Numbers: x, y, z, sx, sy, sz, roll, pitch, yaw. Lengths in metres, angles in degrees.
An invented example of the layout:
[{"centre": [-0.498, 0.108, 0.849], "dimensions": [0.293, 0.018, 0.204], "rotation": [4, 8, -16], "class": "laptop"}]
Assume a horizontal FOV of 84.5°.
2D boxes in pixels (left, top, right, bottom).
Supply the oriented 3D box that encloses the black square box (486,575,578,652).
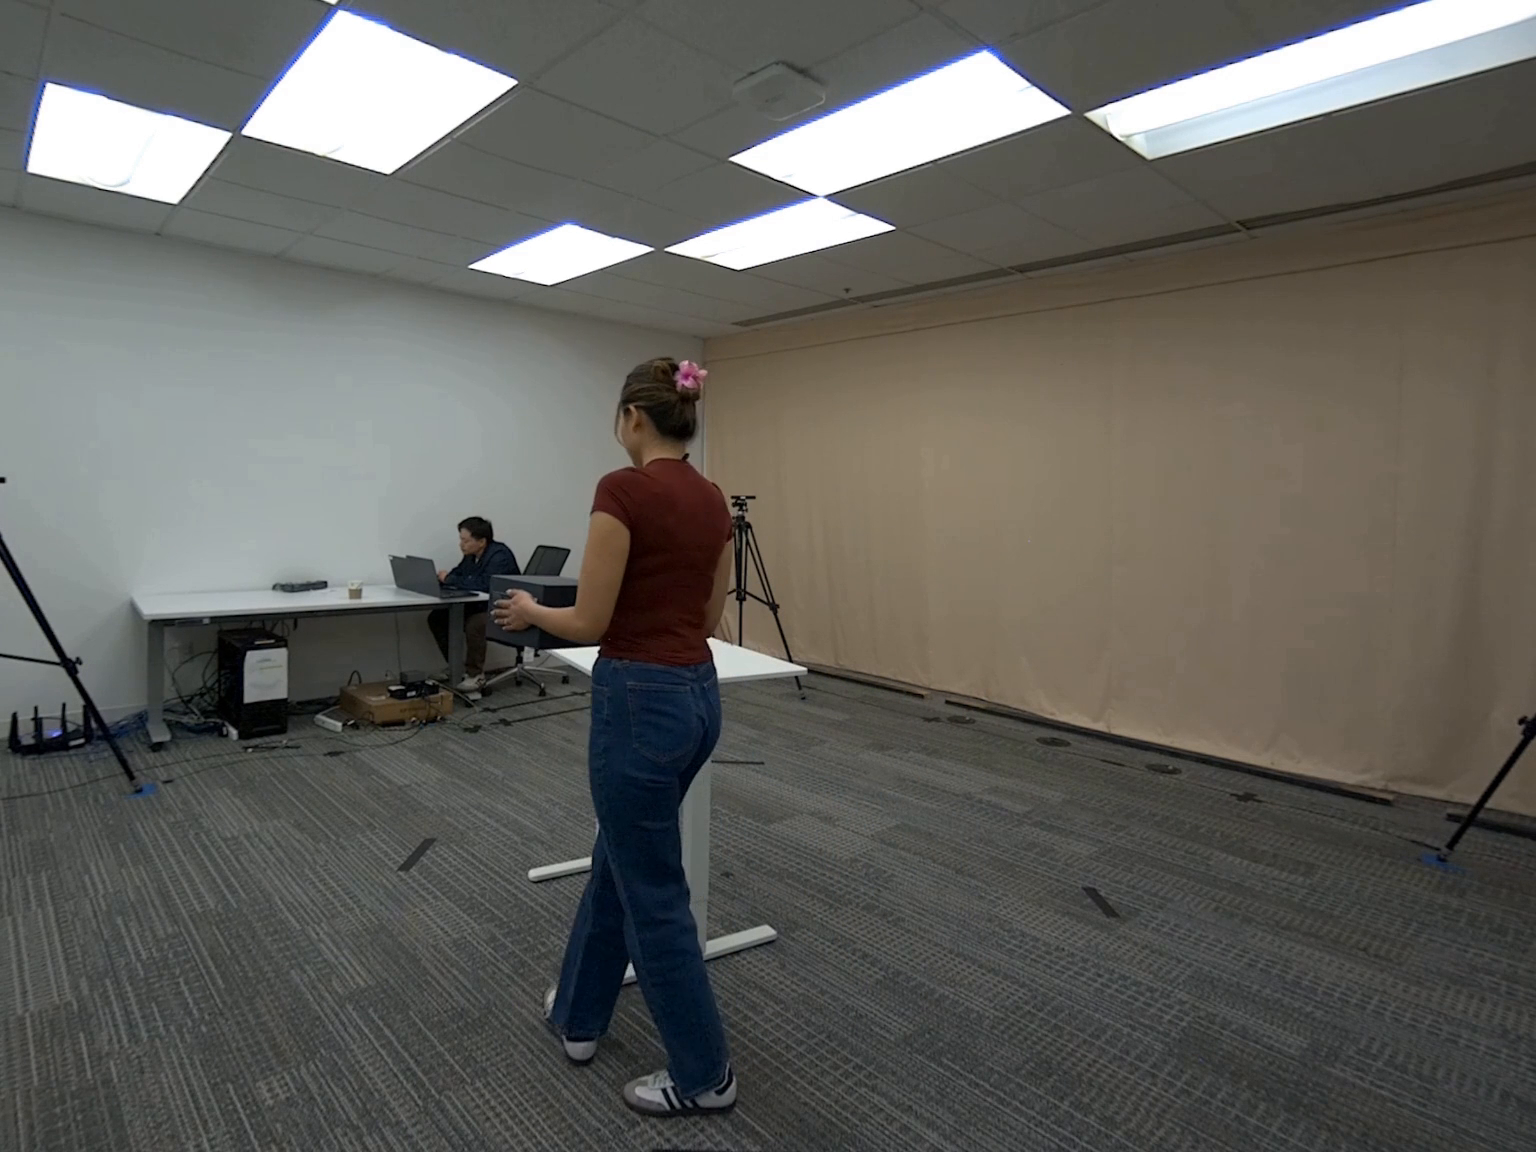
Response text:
[{"centre": [-0.568, 0.087, 2.122], "dimensions": [0.222, 0.156, 0.222], "rotation": [7, 3, 38], "class": "black square box"}]
